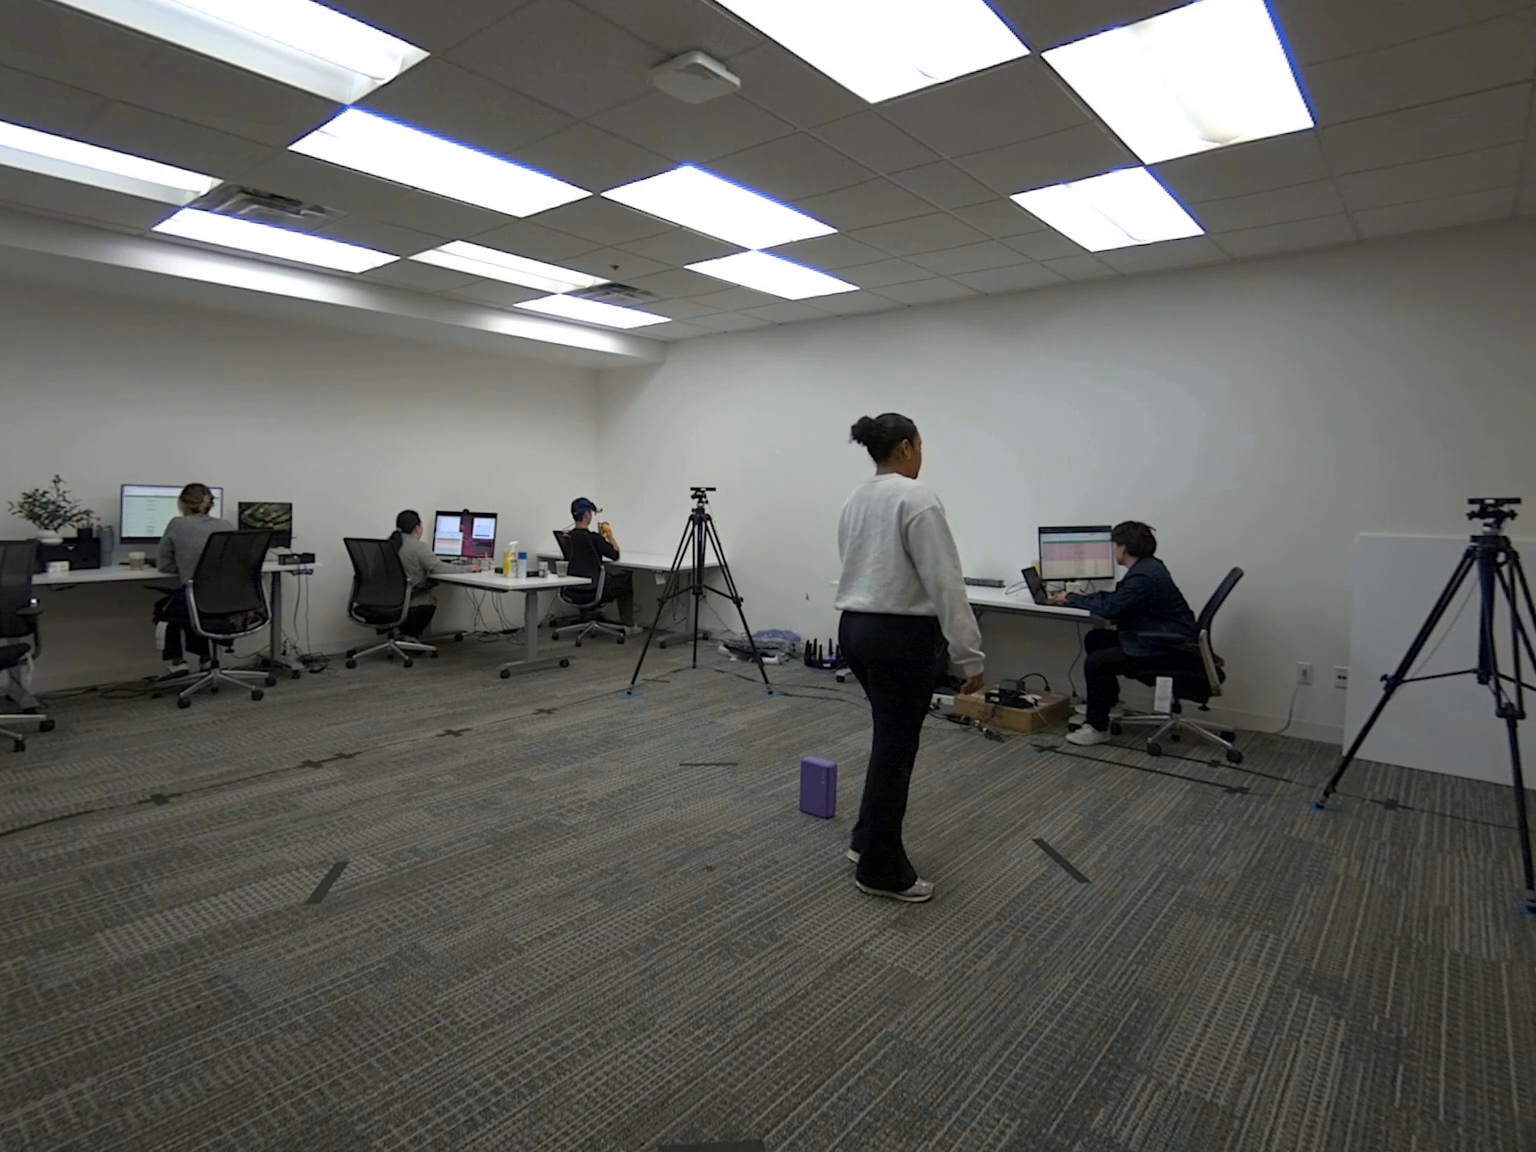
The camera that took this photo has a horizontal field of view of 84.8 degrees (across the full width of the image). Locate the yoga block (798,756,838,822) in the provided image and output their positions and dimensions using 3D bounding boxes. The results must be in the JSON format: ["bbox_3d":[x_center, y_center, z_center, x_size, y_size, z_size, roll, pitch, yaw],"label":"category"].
[{"bbox_3d":[0.206,0.902,3.658,0.154,0.228,0.074,3,4,40],"label":"yoga block"}]
